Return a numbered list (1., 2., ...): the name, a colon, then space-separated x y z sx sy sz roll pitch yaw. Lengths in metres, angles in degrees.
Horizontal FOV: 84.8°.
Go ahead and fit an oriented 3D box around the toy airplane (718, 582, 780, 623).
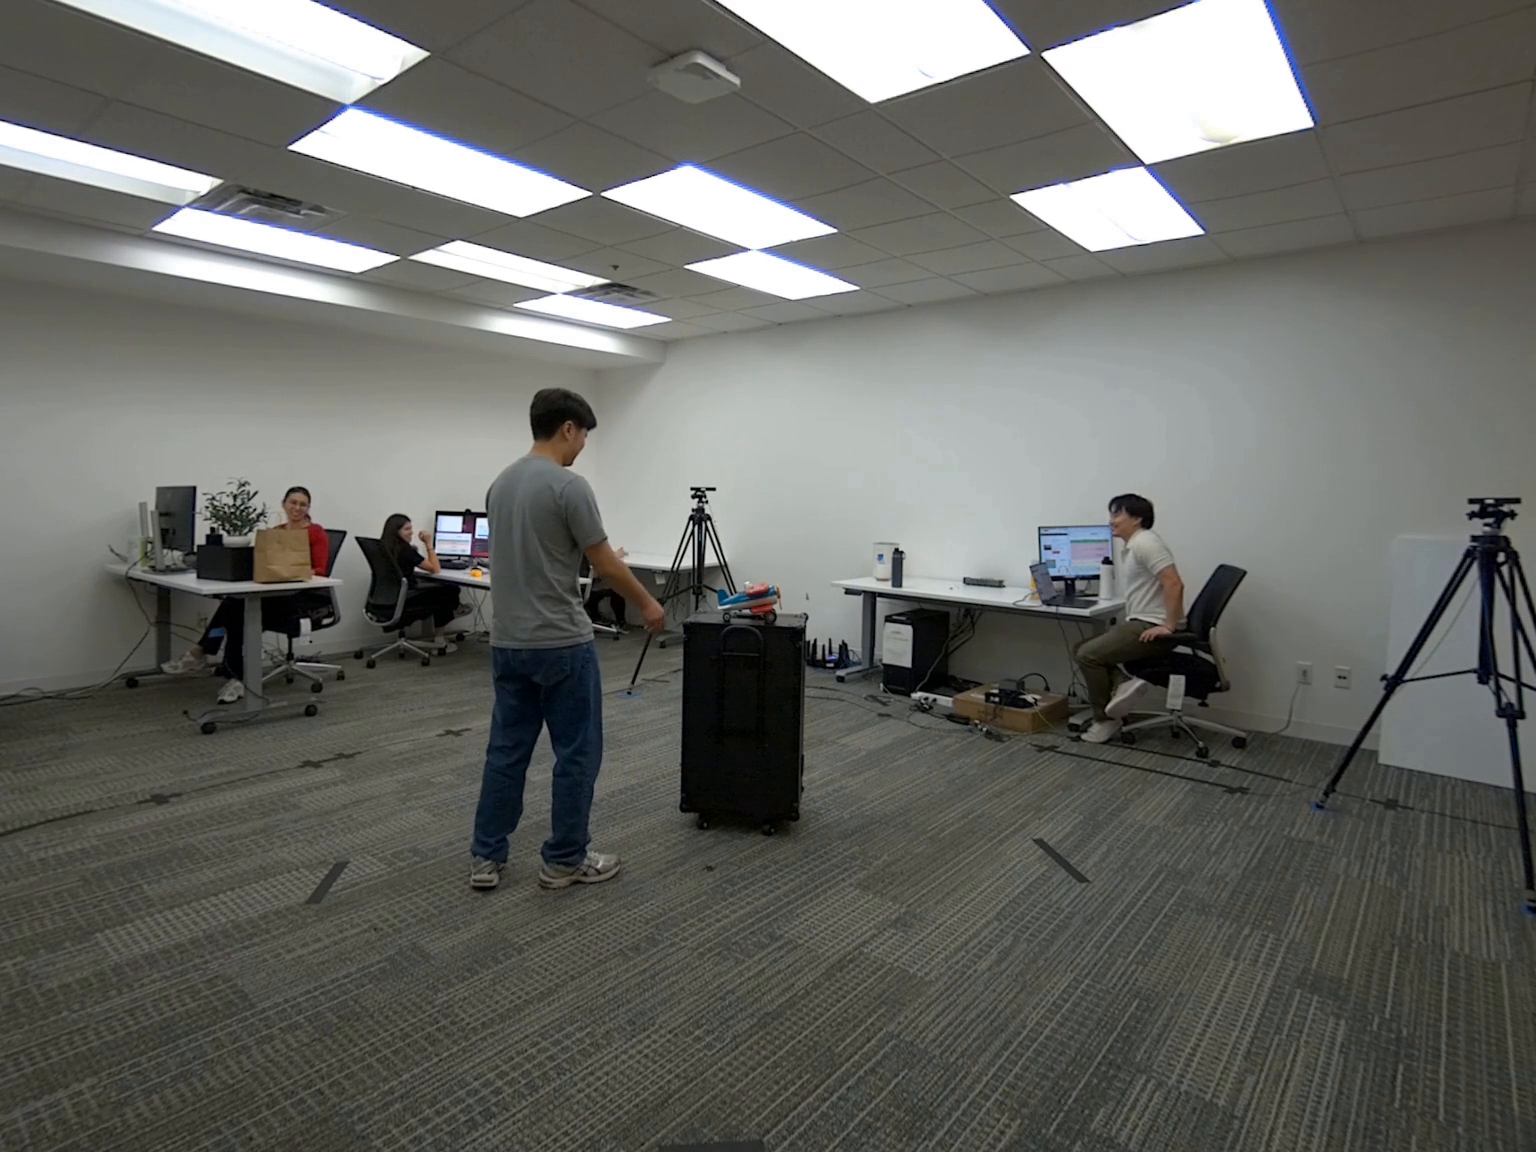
1. toy airplane: -0.088 0.104 3.462 0.252 0.156 0.258 1 4 -28
